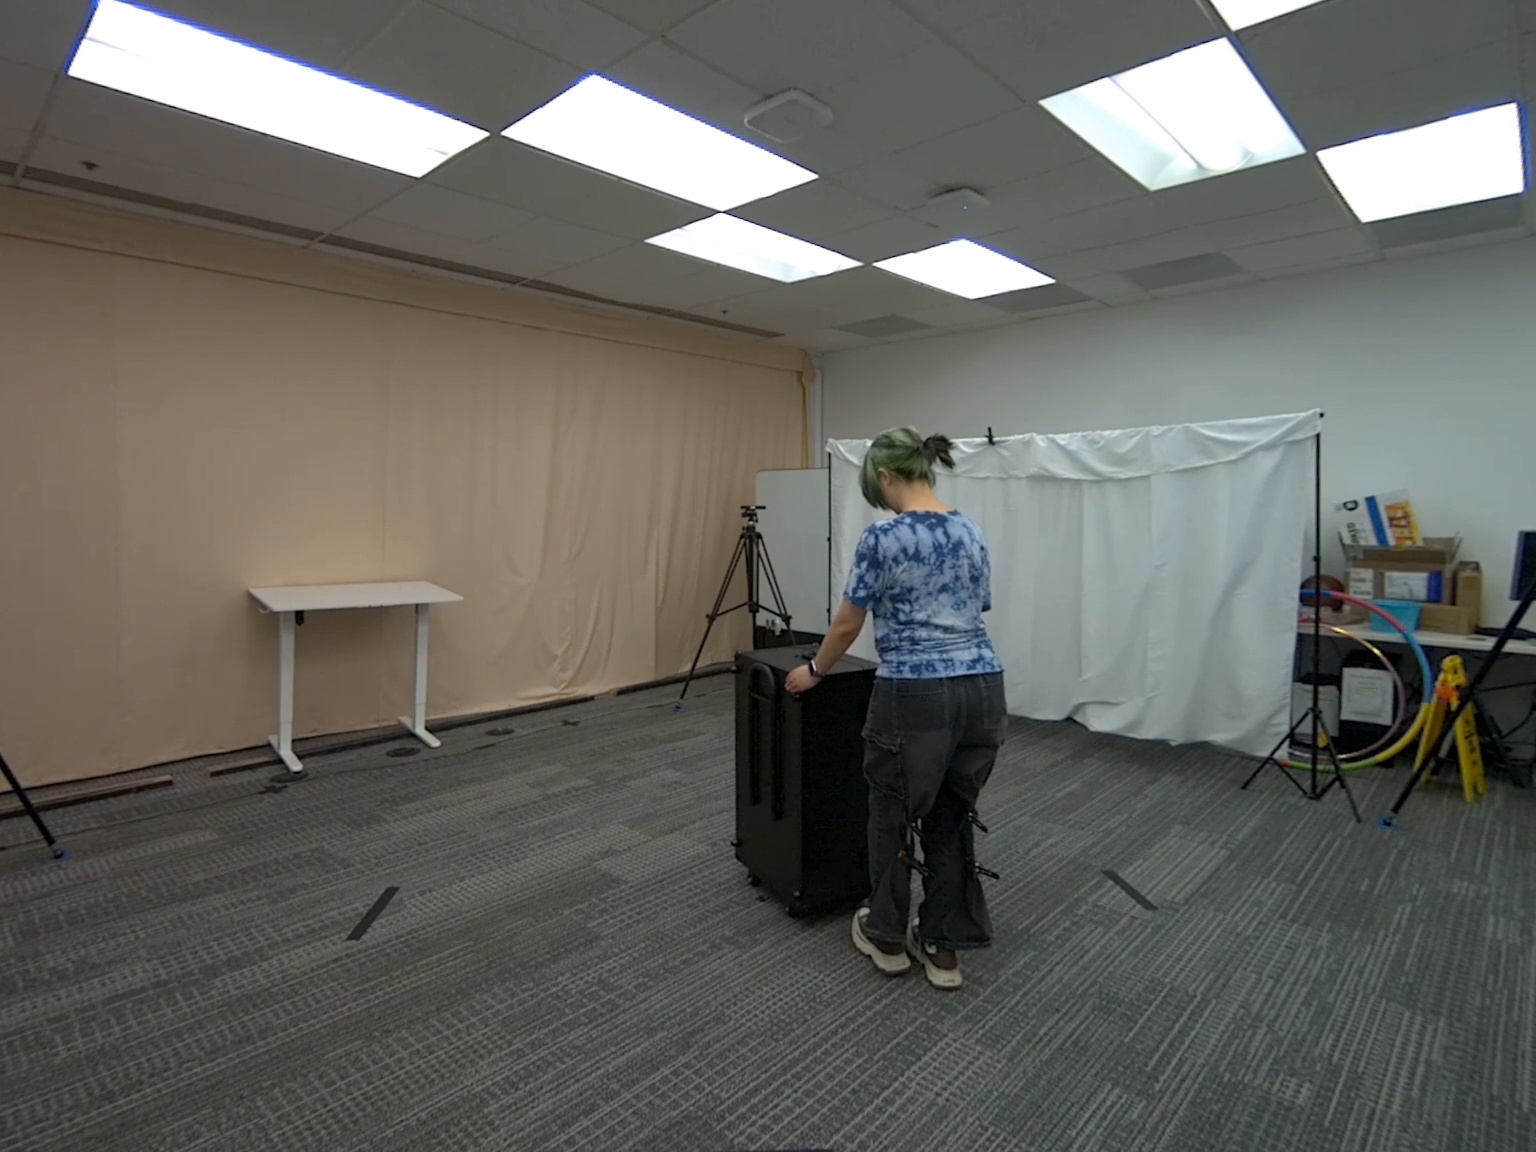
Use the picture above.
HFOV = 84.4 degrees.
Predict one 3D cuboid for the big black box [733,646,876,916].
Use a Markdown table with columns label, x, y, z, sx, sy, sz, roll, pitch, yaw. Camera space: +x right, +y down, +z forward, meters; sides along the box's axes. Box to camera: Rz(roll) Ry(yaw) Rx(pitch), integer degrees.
| label | x | y | z | sx | sy | sz | roll | pitch | yaw |
| --- | --- | --- | --- | --- | --- | --- | --- | --- | --- |
| big black box | 0.141 | 0.719 | 2.984 | 0.386 | 0.859 | 0.536 | -3 | 5 | -28 |
